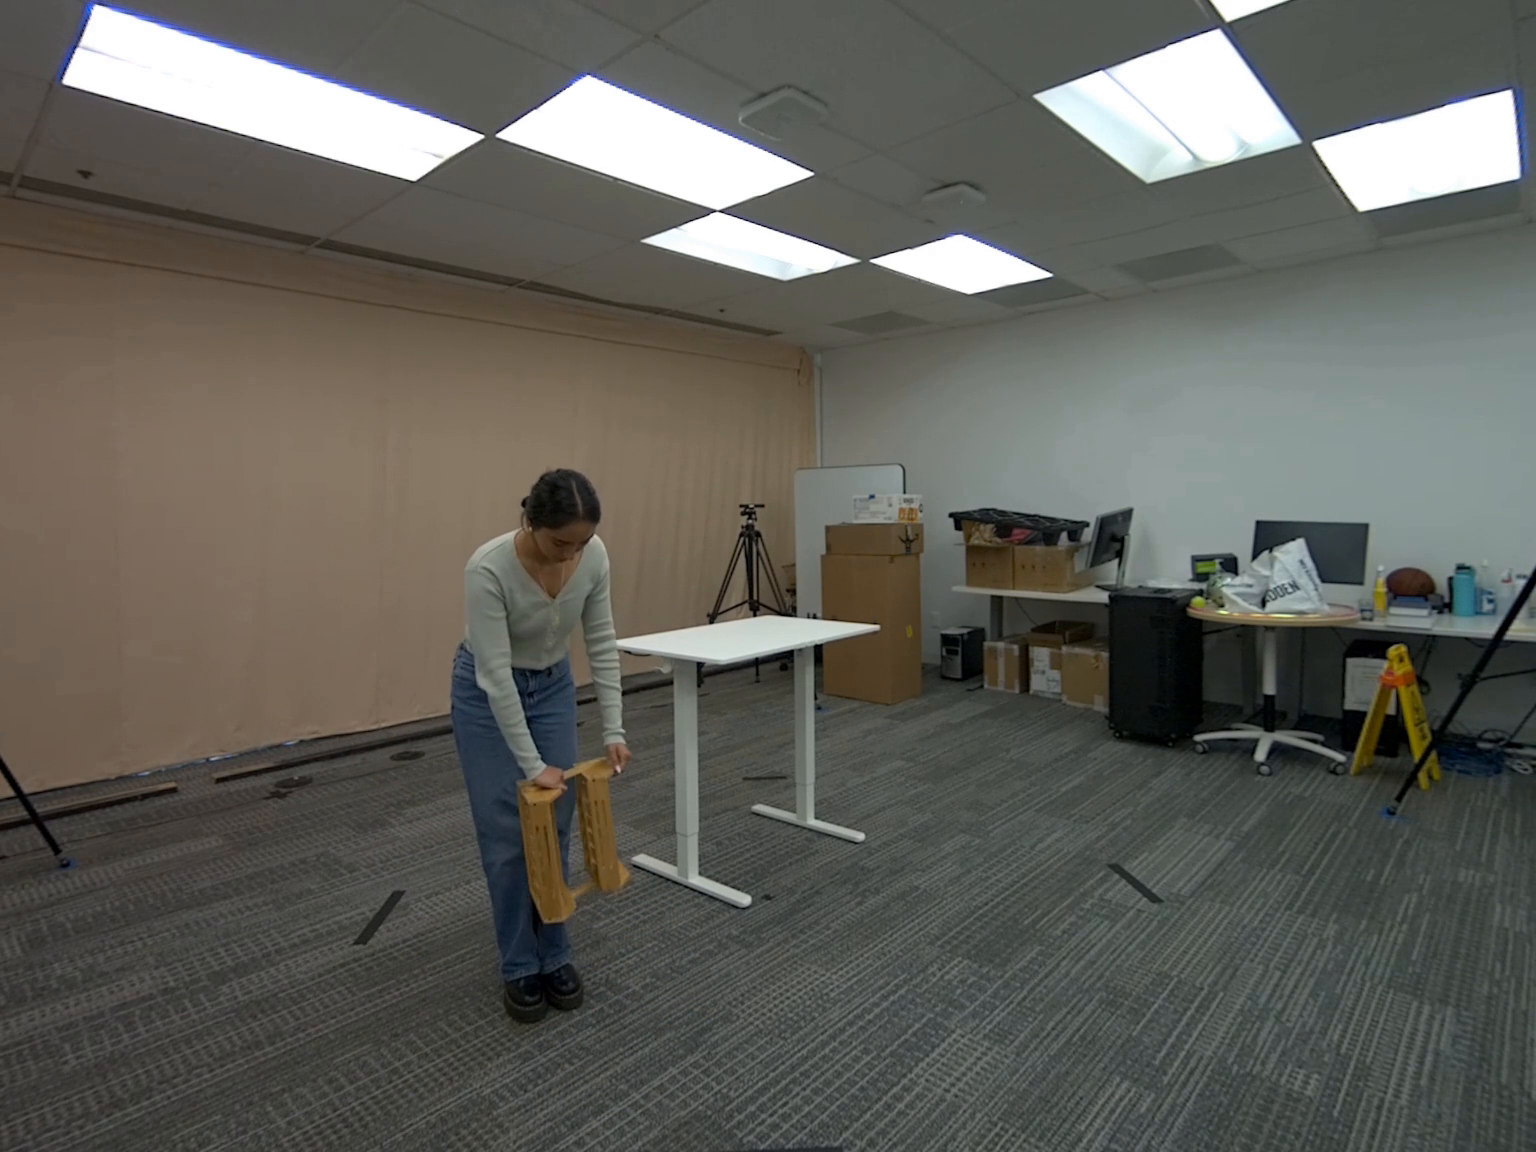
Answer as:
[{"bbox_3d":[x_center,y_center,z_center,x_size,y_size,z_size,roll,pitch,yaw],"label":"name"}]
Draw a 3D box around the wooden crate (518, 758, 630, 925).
[{"bbox_3d":[-0.507,0.694,2.222,0.268,0.324,0.308,-7,2,-22],"label":"wooden crate"}]
